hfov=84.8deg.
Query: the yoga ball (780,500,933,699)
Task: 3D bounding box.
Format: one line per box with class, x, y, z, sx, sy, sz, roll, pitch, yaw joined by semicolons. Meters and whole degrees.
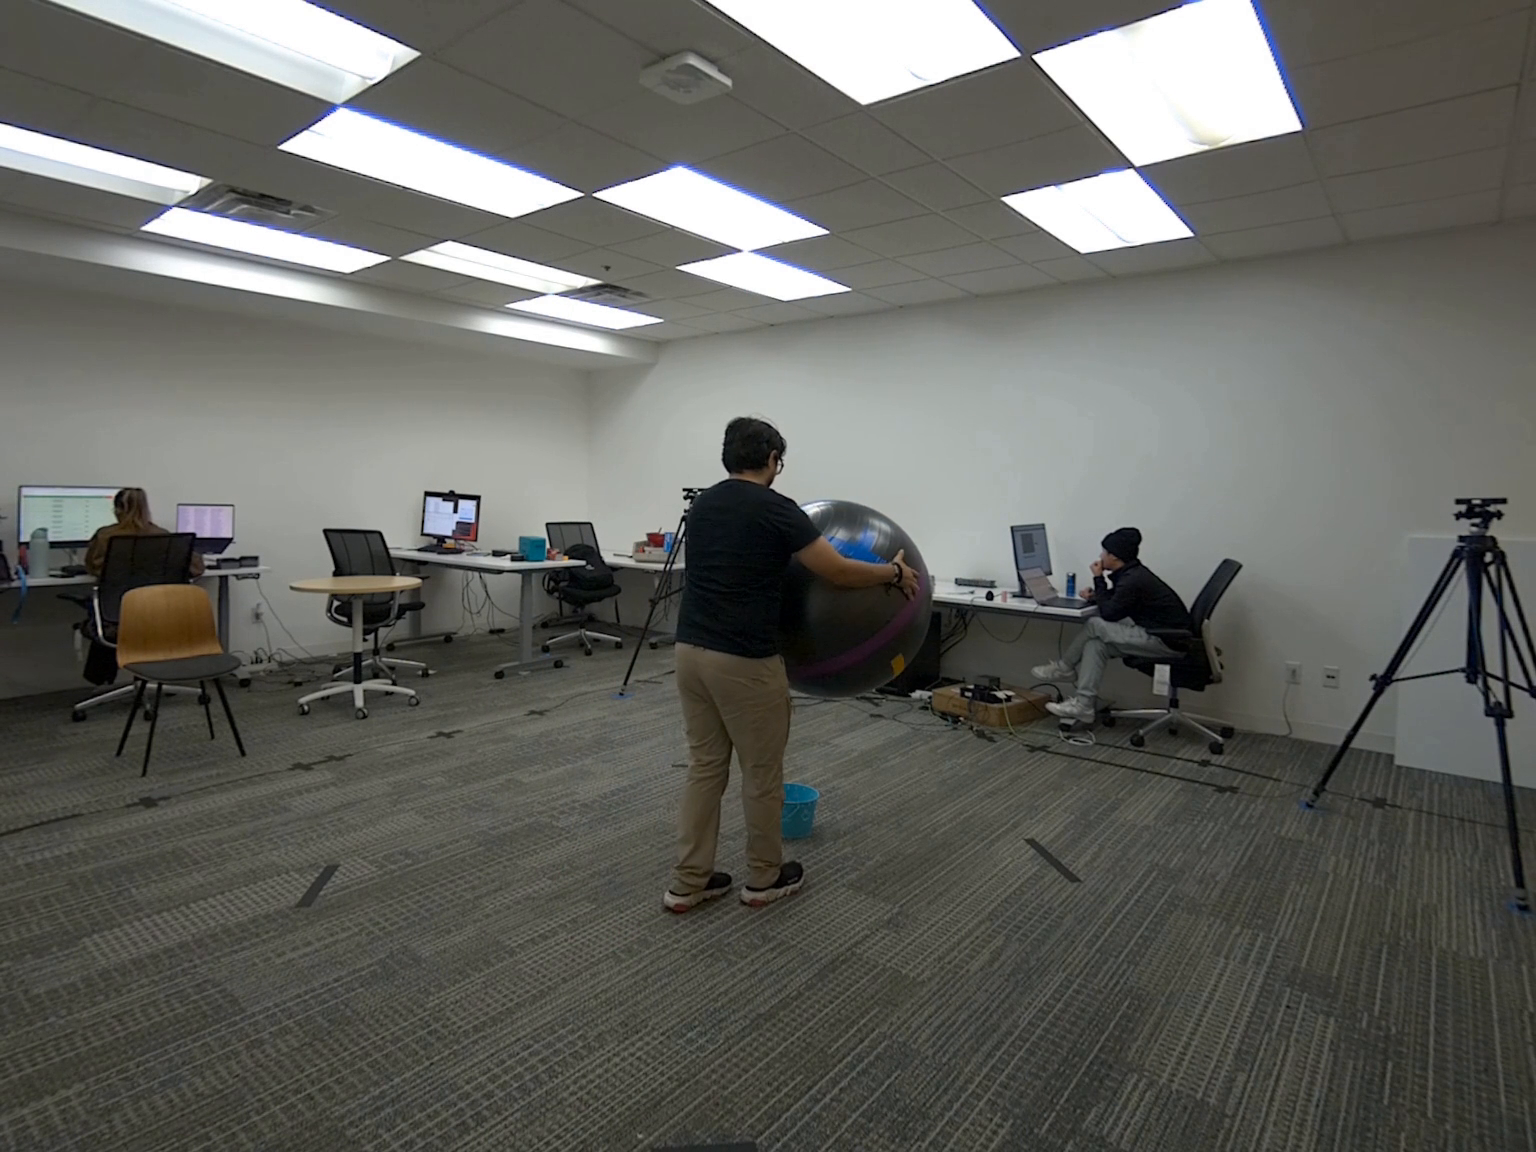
yoga ball;0.249;0.086;3.281;0.757;0.755;0.762;1;4;-2
